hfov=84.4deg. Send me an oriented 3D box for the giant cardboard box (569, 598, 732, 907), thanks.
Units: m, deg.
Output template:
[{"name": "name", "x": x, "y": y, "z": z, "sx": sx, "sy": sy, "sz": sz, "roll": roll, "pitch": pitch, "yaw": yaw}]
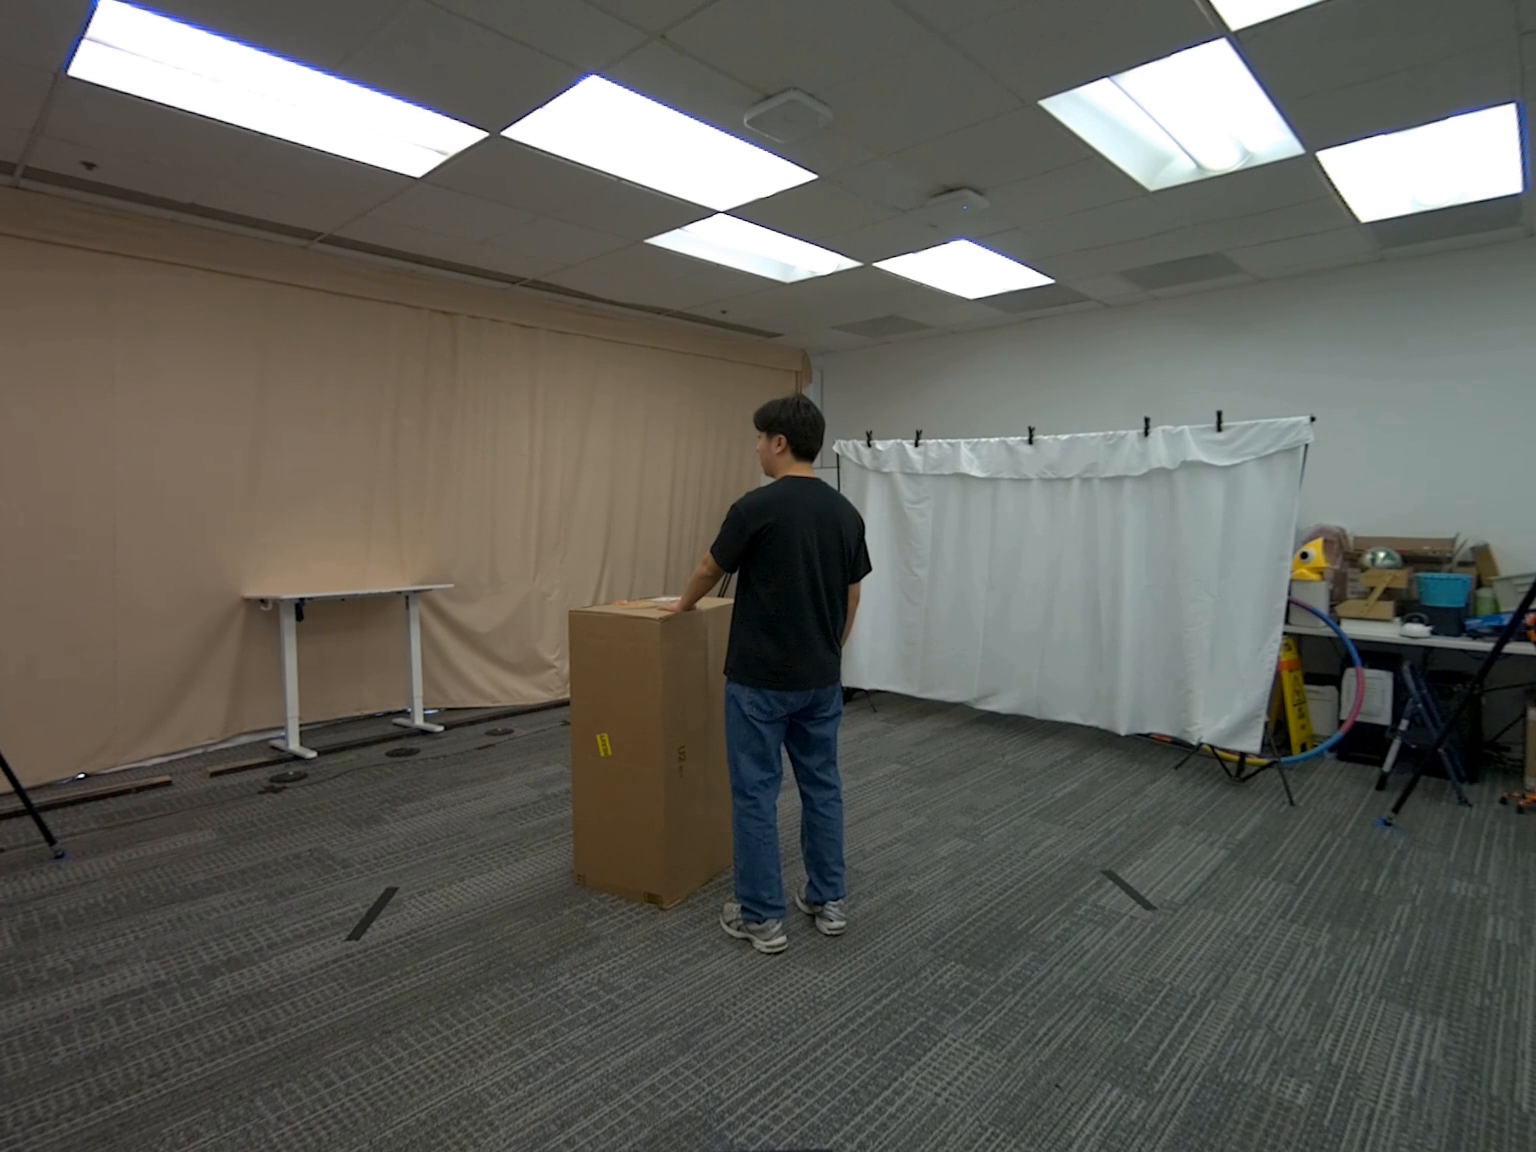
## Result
[{"name": "giant cardboard box", "x": -0.405, "y": 0.615, "z": 3.228, "sx": 0.460, "sy": 1.025, "sz": 0.568, "roll": 1, "pitch": 3, "yaw": 32}]
